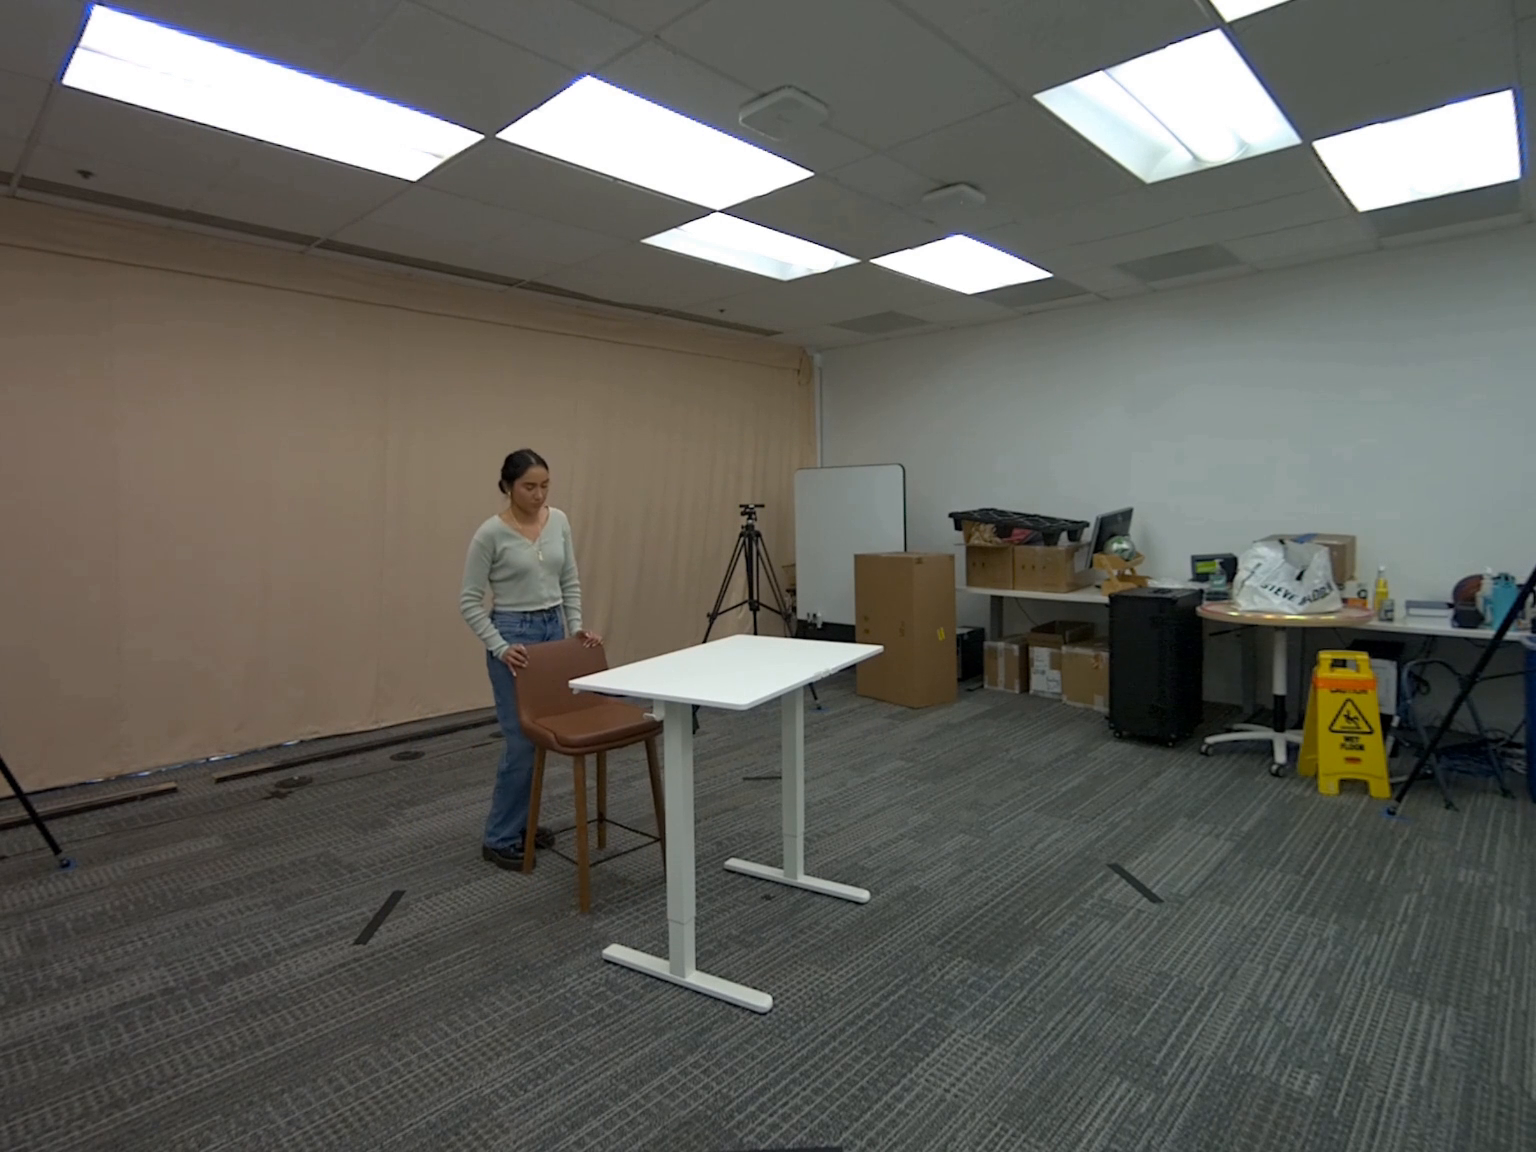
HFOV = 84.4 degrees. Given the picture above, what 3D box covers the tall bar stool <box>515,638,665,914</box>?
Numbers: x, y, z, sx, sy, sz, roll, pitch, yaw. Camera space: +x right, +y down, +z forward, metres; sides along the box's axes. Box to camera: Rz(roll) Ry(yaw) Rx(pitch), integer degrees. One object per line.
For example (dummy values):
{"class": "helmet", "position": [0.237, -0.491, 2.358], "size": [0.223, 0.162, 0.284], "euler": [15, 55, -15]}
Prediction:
{"class": "tall bar stool", "position": [-0.661, 0.700, 3.164], "size": [0.442, 0.889, 0.482], "euler": [-4, 2, -44]}
